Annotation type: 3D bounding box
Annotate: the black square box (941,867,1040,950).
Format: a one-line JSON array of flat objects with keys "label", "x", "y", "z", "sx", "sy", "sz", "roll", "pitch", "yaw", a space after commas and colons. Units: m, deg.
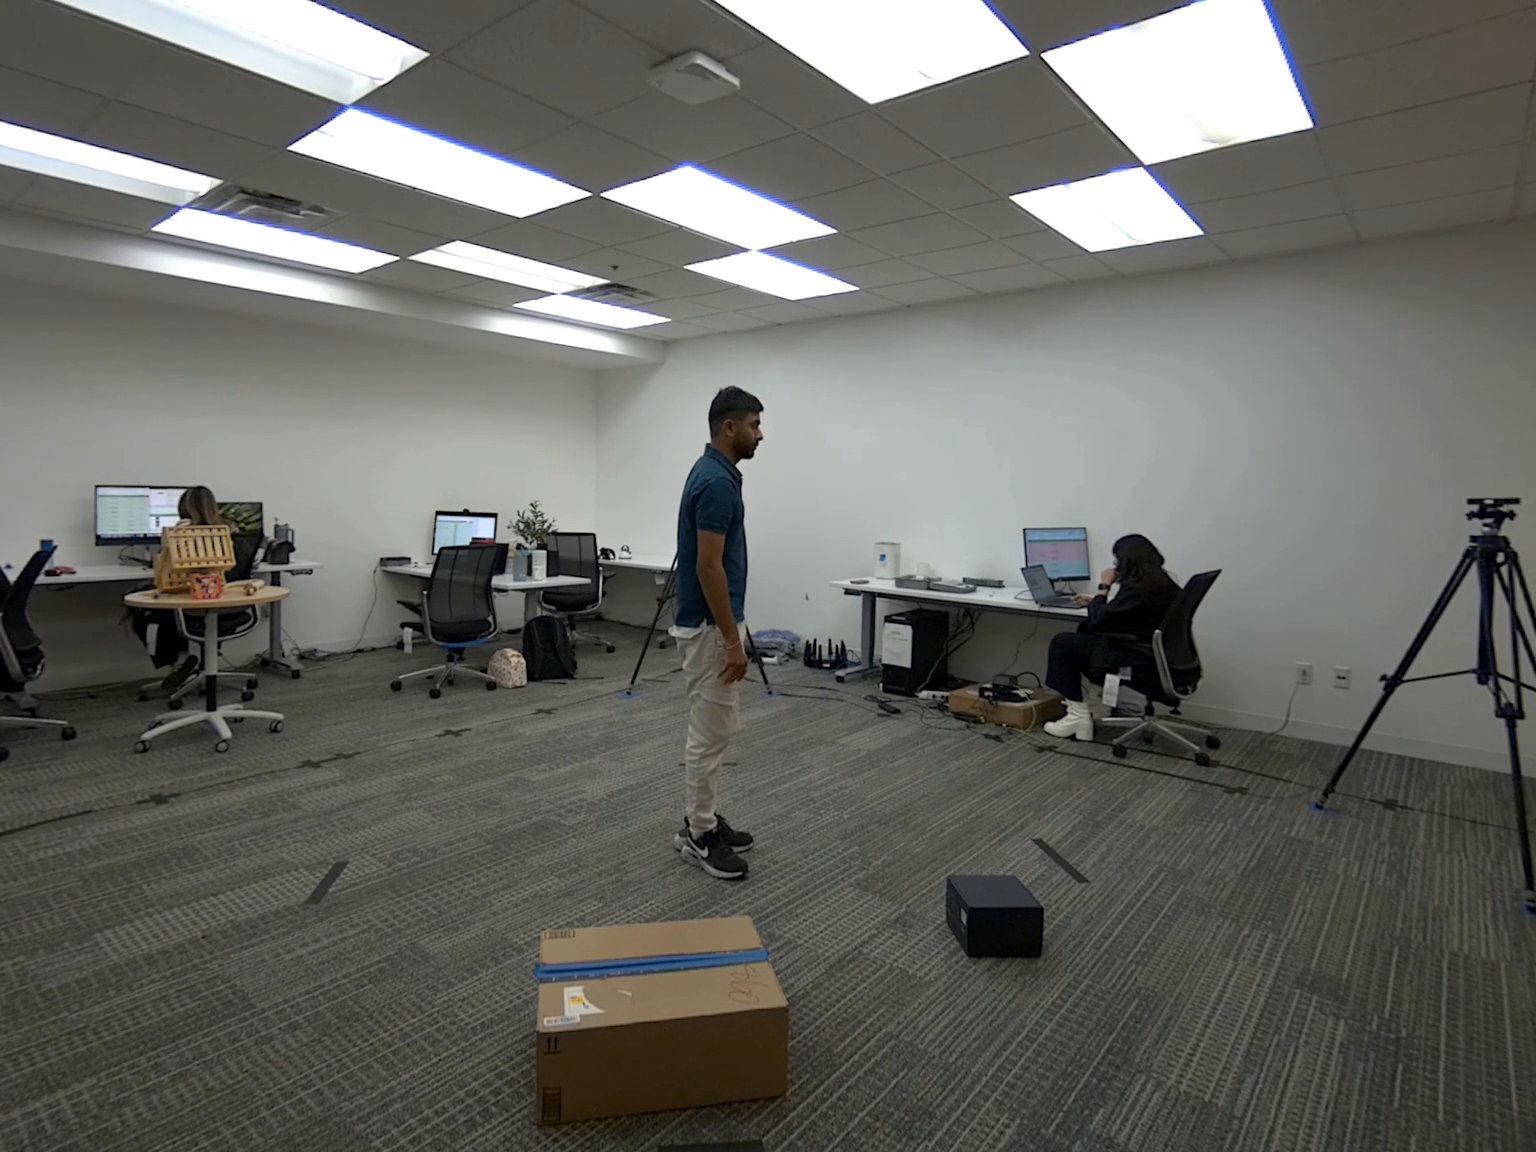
[{"label": "black square box", "x": 0.696, "y": 1.044, "z": 2.658, "sx": 0.227, "sy": 0.155, "sz": 0.218, "roll": 1, "pitch": 4, "yaw": -5}]
